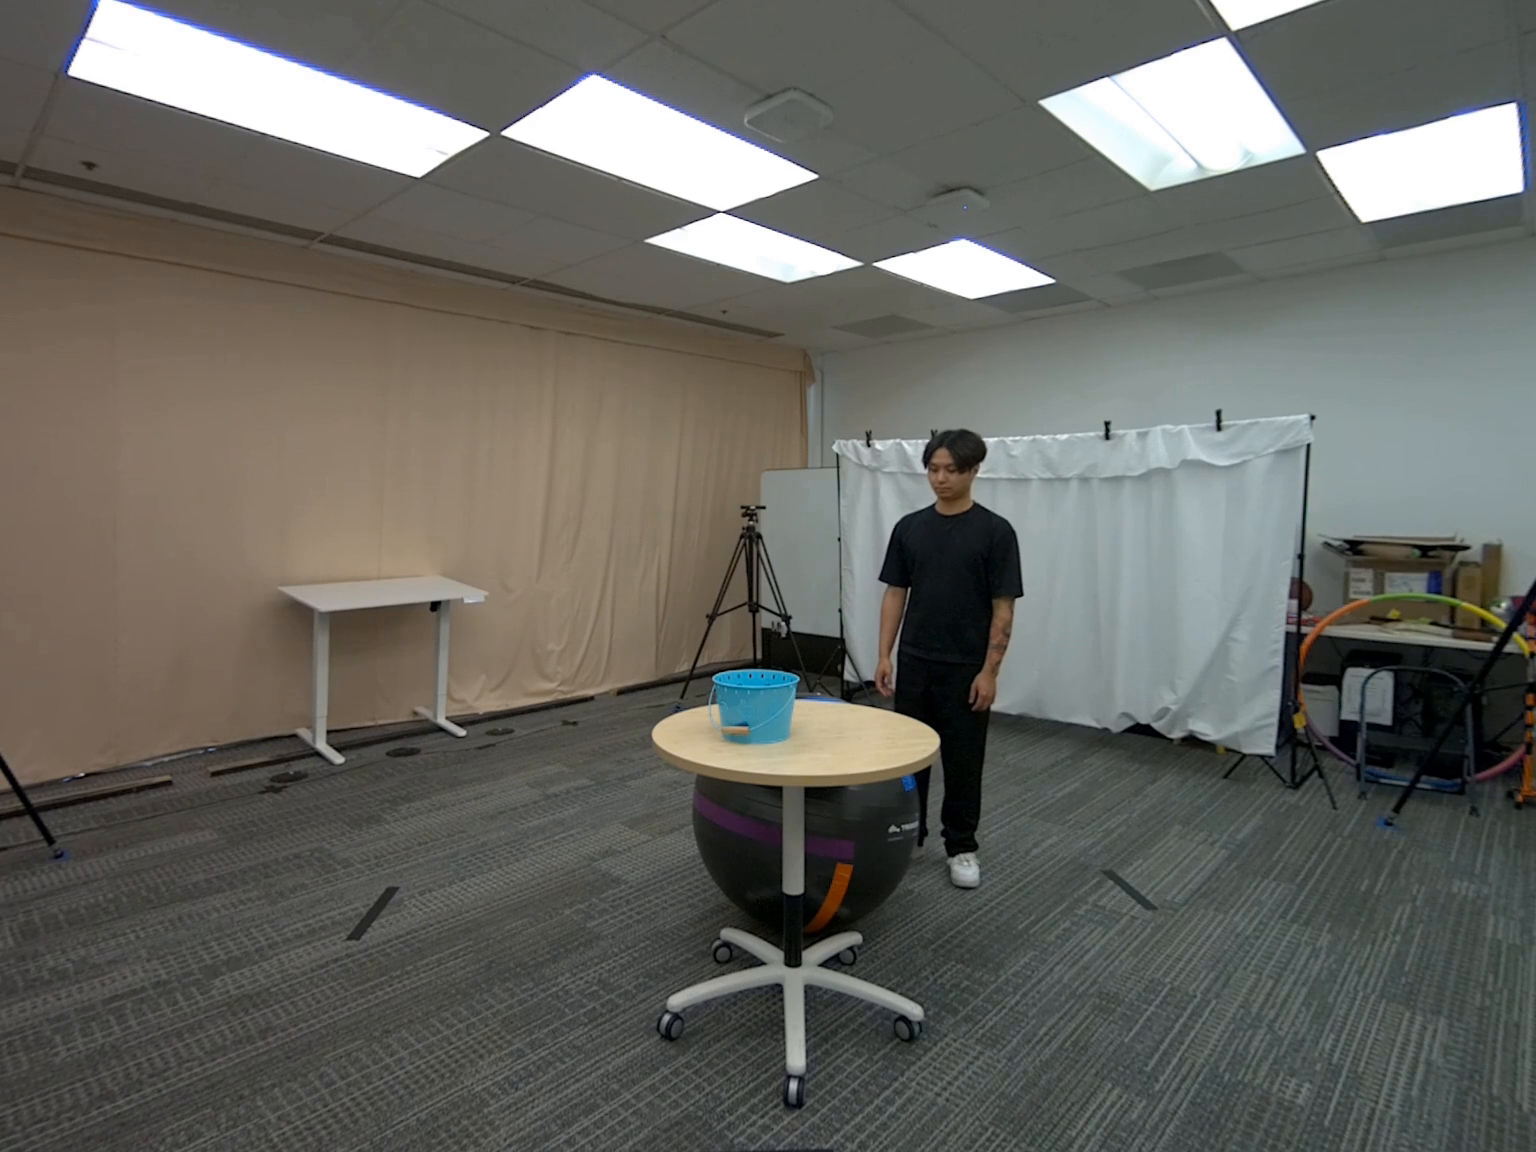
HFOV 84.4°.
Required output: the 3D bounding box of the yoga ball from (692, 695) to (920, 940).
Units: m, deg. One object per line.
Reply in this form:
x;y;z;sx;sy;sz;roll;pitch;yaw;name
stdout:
0.126;0.782;2.825;0.757;0.756;0.760;0;4;-2;yoga ball
